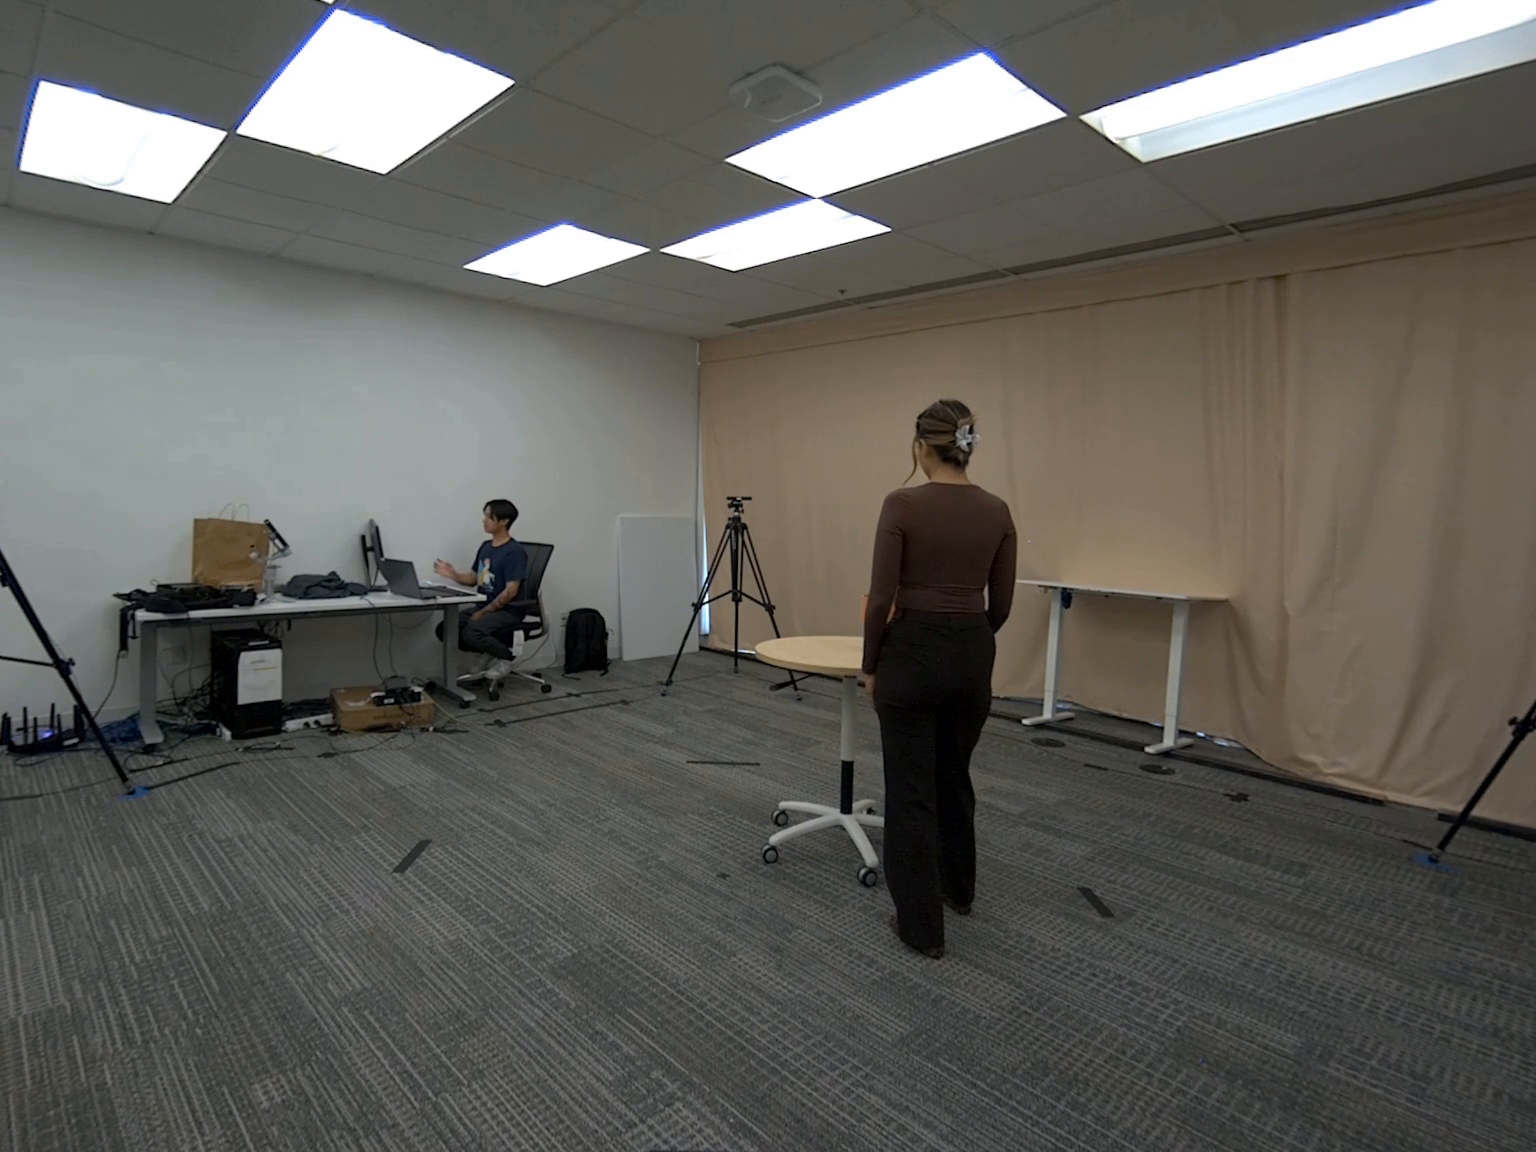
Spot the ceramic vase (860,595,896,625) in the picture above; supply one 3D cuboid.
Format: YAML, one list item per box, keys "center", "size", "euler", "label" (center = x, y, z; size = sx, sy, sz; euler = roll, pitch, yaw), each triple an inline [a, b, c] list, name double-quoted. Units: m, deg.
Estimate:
- center: [0.436, 0.193, 3.362]
  size: [0.155, 0.219, 0.138]
  euler: [-1, 4, -38]
  label: "ceramic vase"
